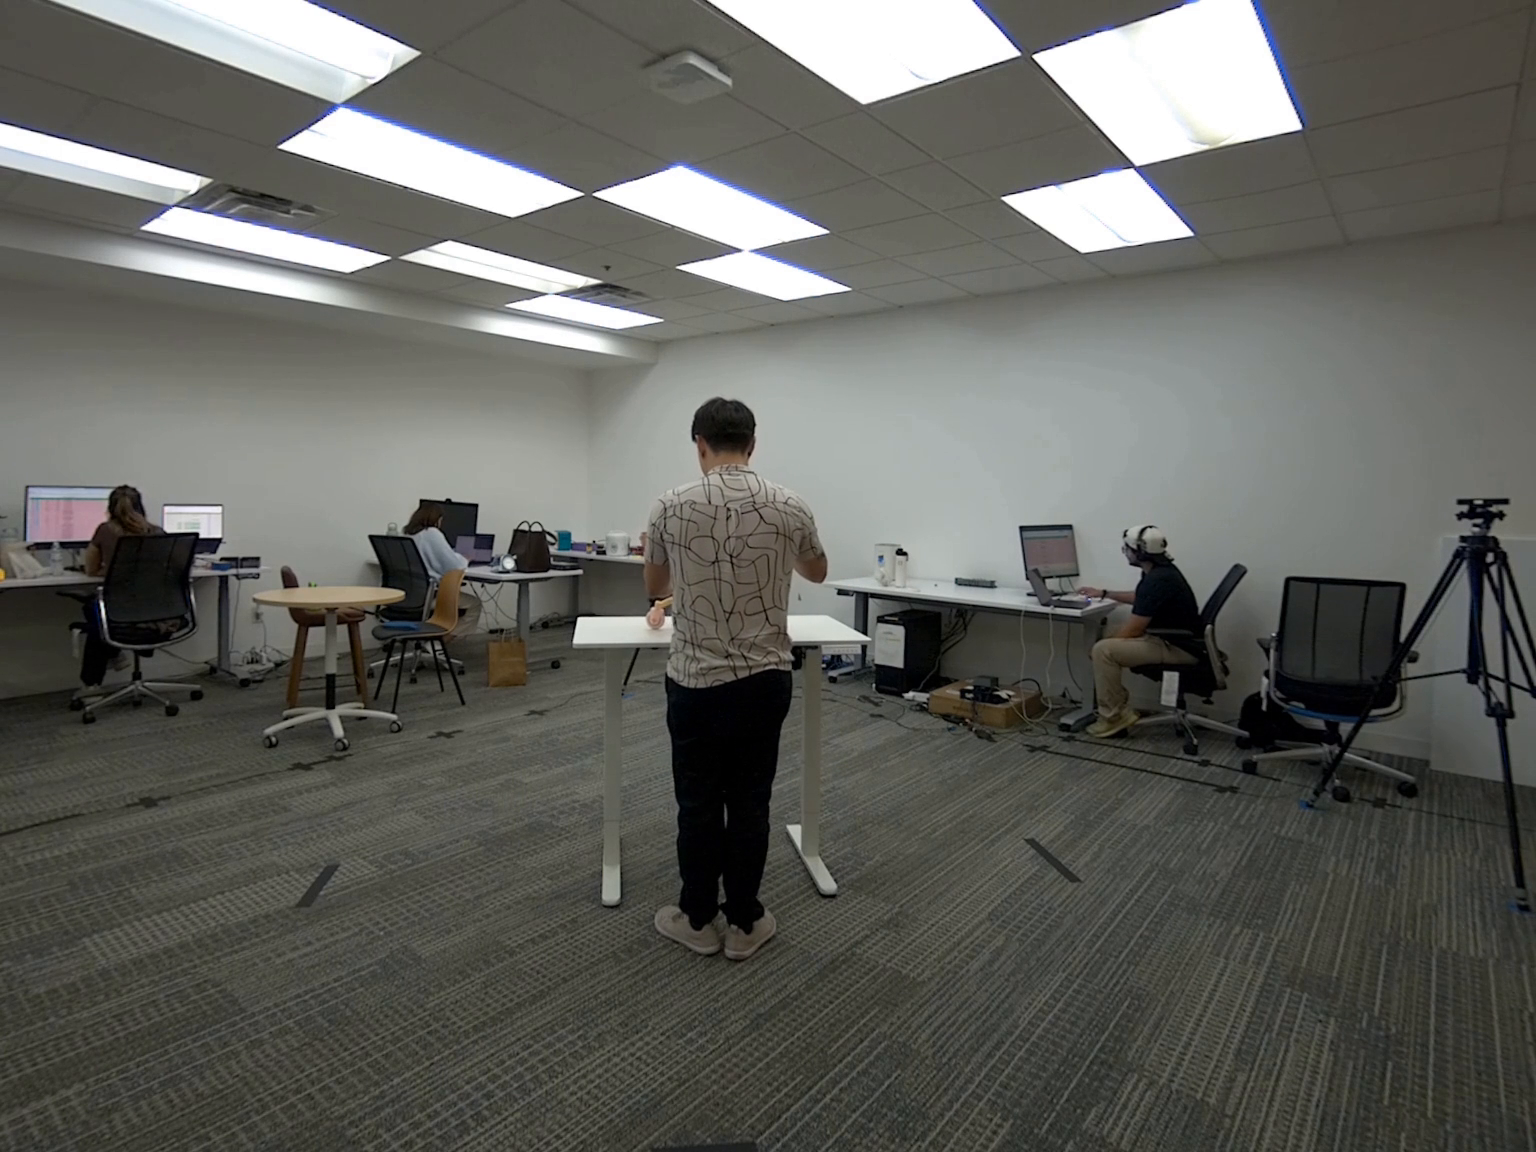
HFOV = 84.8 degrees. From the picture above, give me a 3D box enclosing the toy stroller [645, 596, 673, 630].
[{"bbox_3d":[-0.219,-0.028,3.016,0.347,0.532,0.278,17,8,12],"label":"toy stroller"}]
